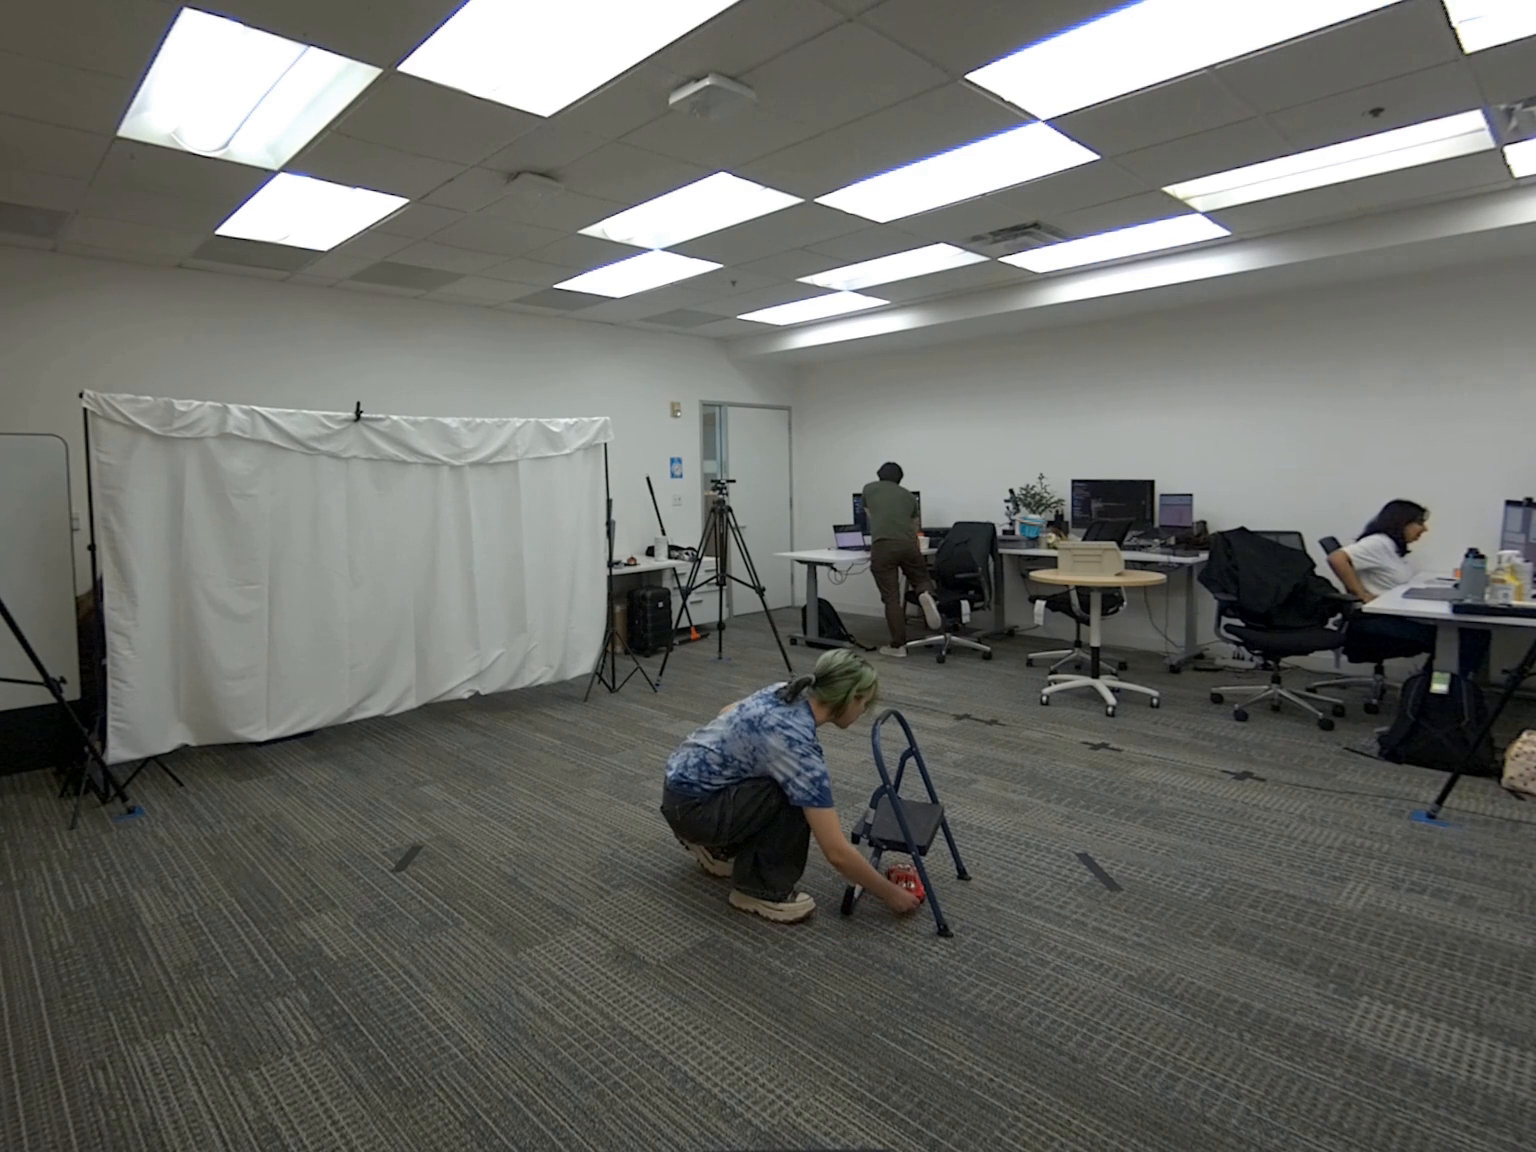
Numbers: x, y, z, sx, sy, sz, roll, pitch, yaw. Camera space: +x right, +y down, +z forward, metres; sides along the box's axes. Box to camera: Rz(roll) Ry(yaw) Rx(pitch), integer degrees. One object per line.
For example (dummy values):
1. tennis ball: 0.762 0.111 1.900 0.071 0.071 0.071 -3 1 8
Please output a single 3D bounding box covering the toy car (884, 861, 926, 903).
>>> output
1. toy car: 0.458 1.029 2.864 0.131 0.083 0.251 2 -5 6
